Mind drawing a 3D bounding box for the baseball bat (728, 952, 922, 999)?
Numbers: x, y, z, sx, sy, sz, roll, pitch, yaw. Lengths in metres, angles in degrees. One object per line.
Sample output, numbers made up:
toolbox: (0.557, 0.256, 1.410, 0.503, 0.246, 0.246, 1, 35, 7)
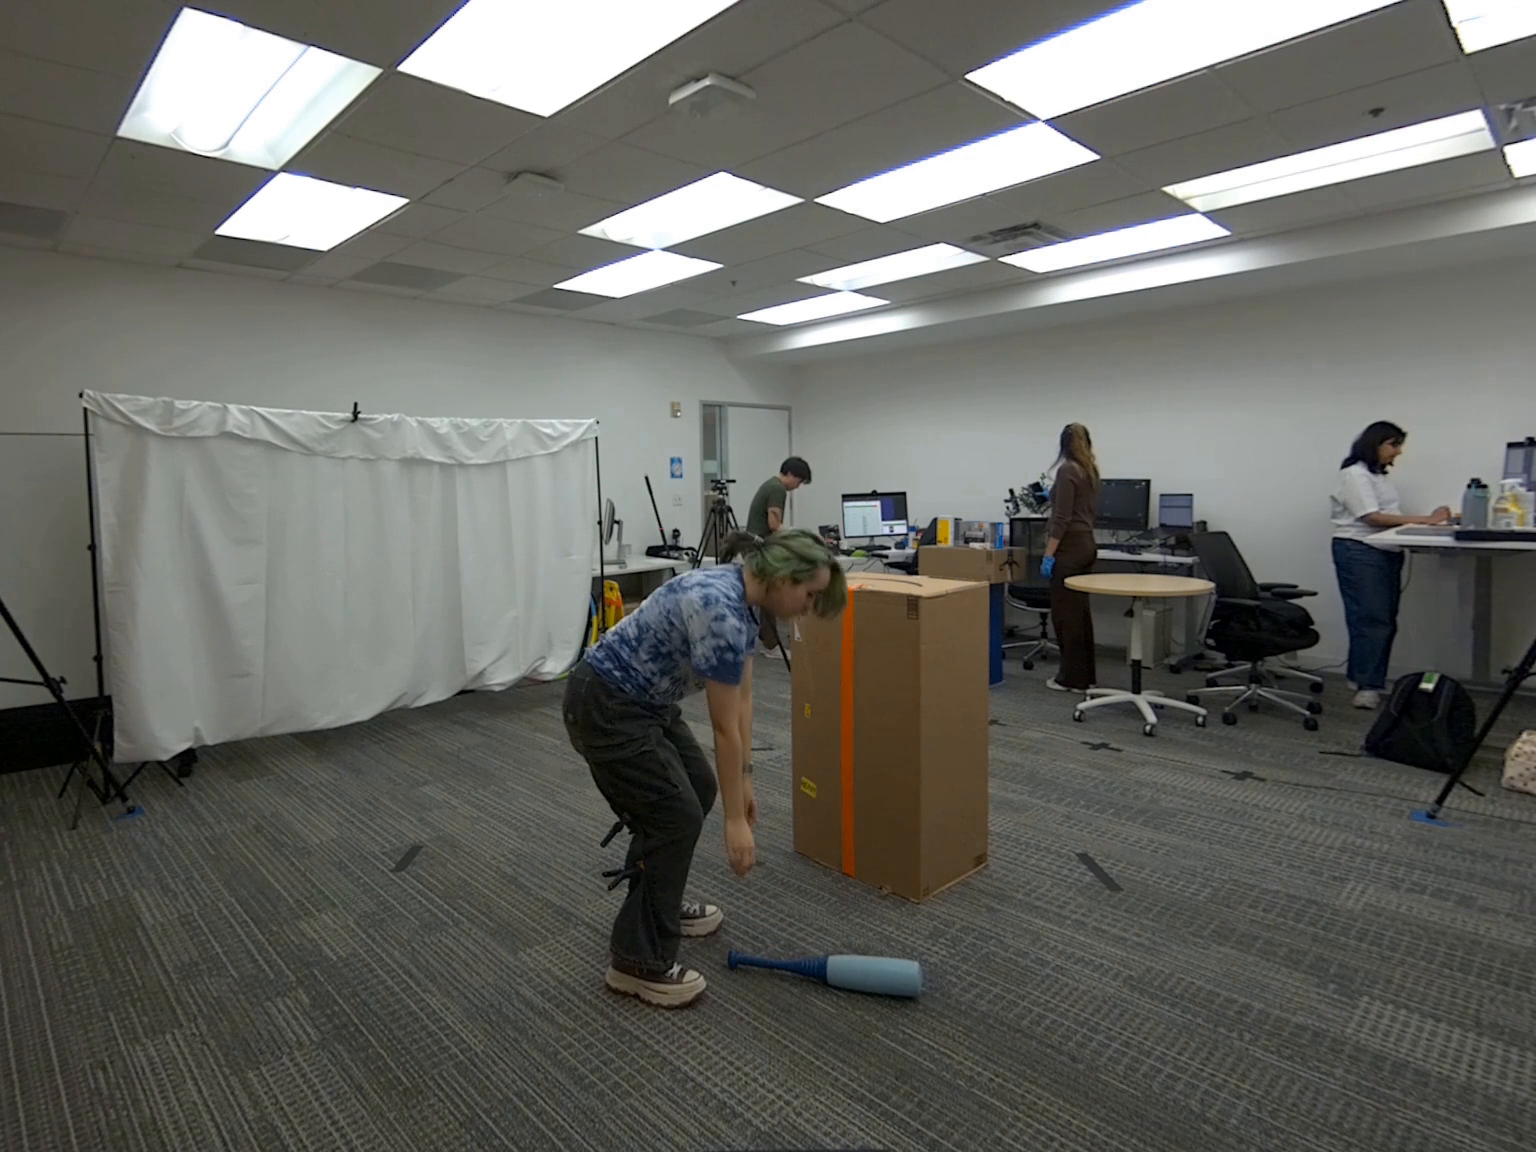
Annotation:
baseball bat: (0.164, 1.101, 2.366, 0.552, 0.089, 0.088, -3, 4, 18)
